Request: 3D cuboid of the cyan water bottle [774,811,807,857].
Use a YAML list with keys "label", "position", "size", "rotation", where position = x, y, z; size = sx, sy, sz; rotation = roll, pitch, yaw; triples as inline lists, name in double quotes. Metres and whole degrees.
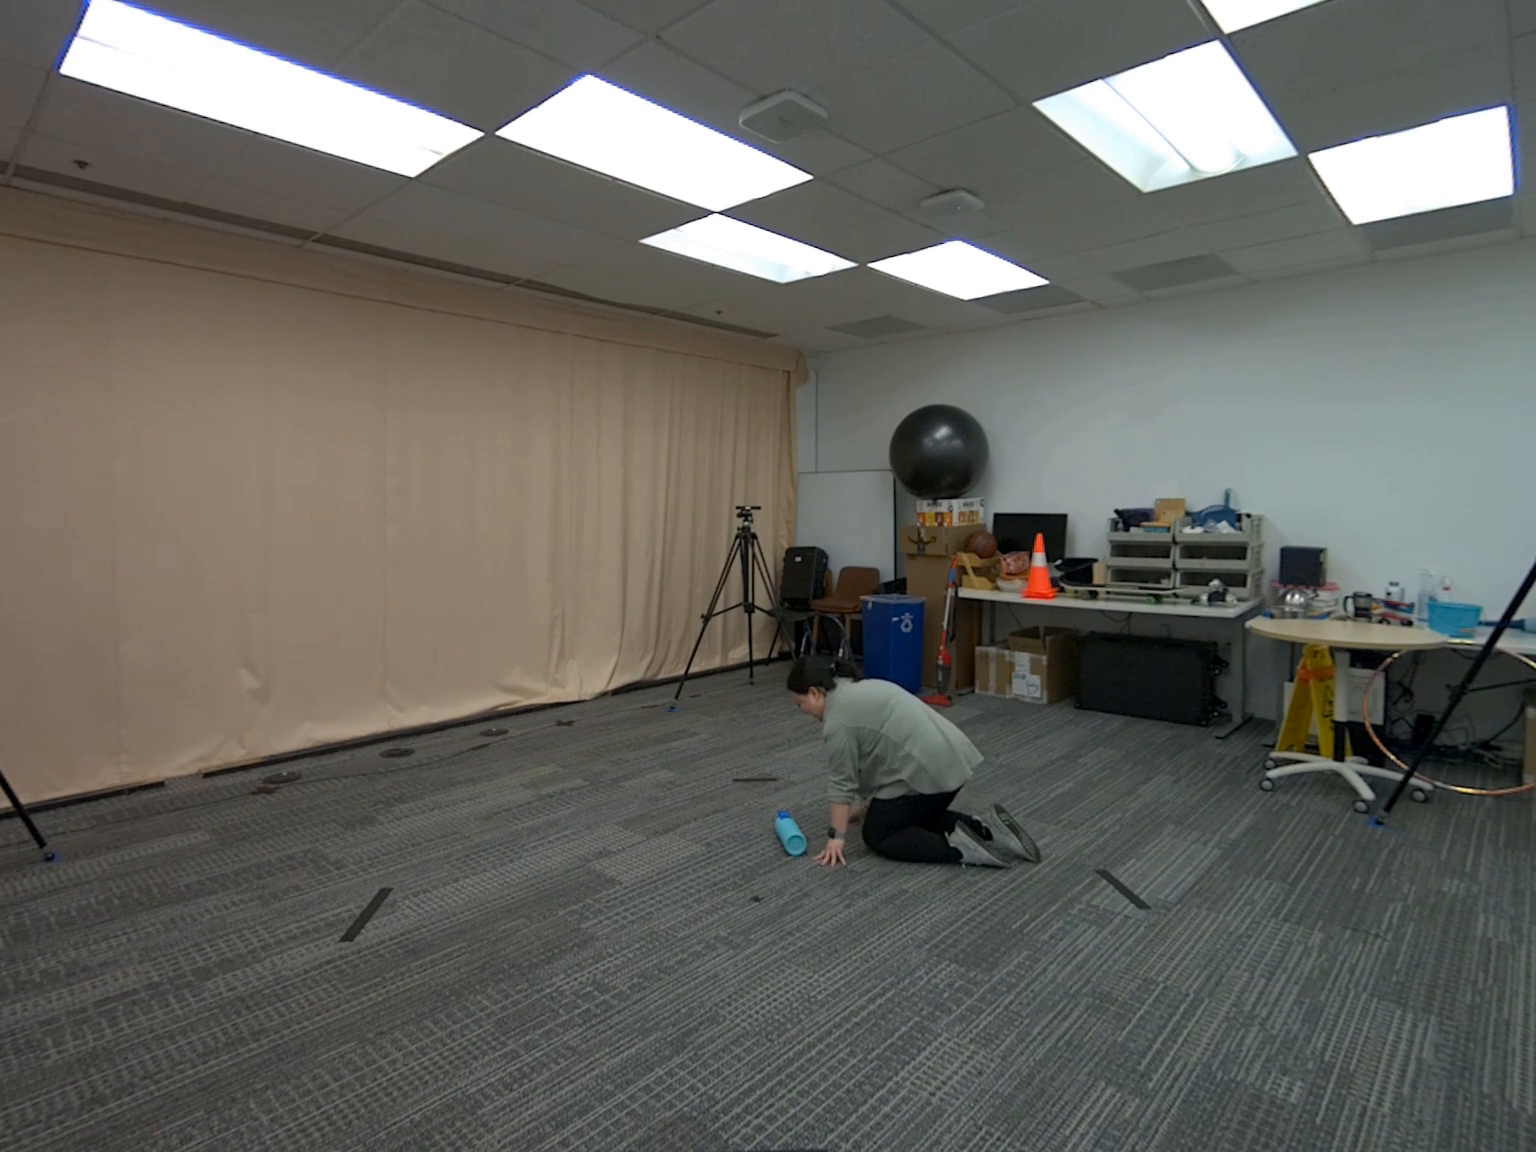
- label: "cyan water bottle"
  position: [0.089, 1.056, 3.489]
  size: [0.091, 0.092, 0.287]
  rotation: [-1, 4, -10]
